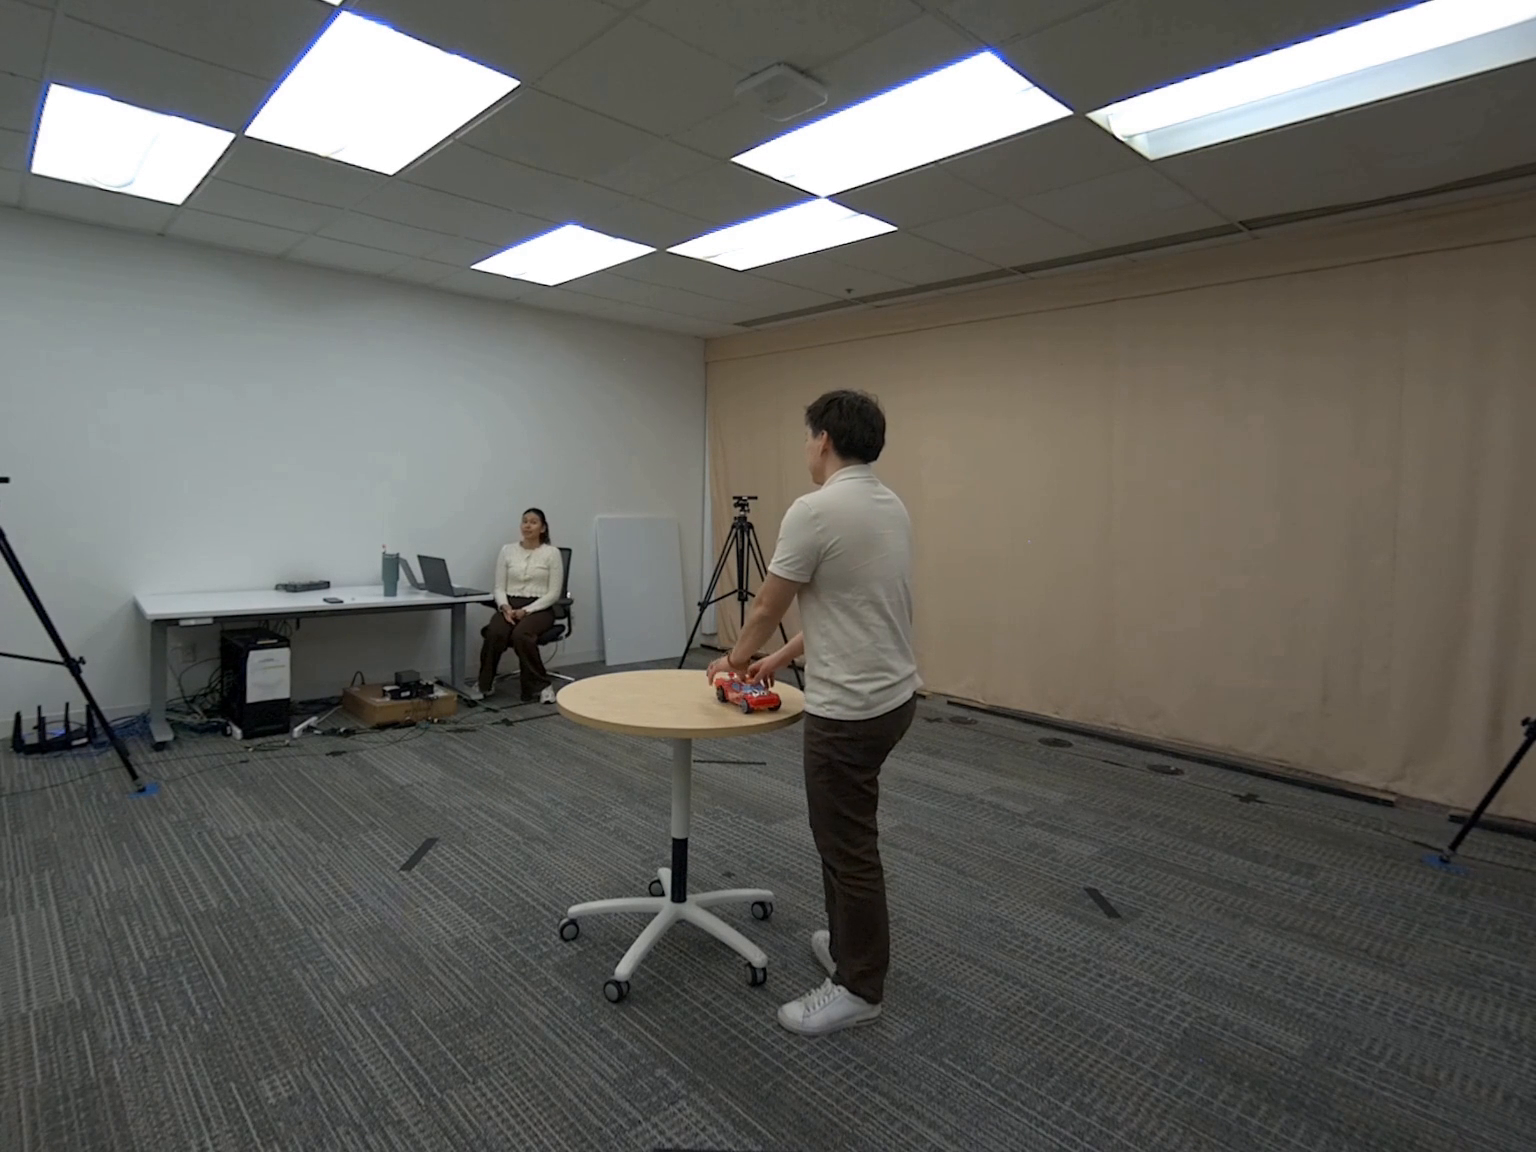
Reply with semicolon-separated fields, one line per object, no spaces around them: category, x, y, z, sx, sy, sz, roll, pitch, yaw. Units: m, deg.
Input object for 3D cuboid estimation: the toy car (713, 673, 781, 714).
toy car;-0.078;0.352;2.472;0.128;0.082;0.262;-2;18;-27
